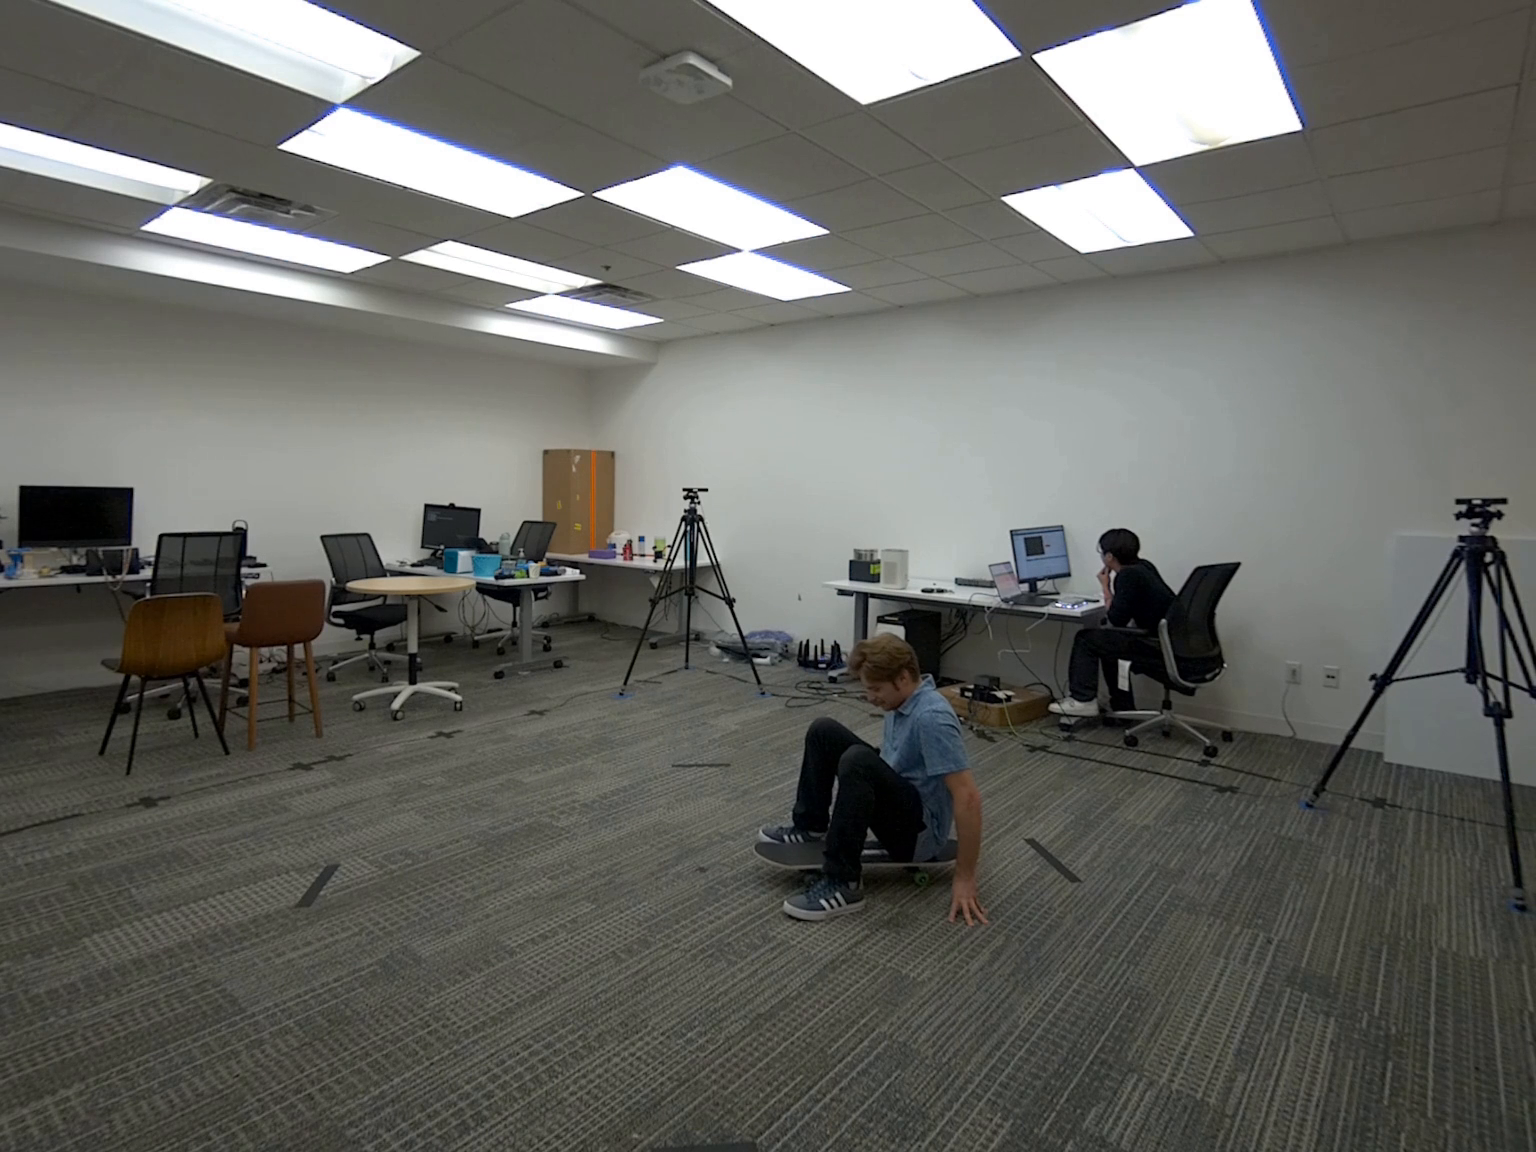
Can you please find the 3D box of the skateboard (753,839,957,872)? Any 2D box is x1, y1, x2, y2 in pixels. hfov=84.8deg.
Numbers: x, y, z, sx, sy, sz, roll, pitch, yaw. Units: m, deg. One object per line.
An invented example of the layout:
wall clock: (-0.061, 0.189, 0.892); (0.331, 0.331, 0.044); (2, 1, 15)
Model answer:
skateboard: (0.328, 1.028, 3.082); (0.779, 0.110, 0.196); (2, 5, -7)
